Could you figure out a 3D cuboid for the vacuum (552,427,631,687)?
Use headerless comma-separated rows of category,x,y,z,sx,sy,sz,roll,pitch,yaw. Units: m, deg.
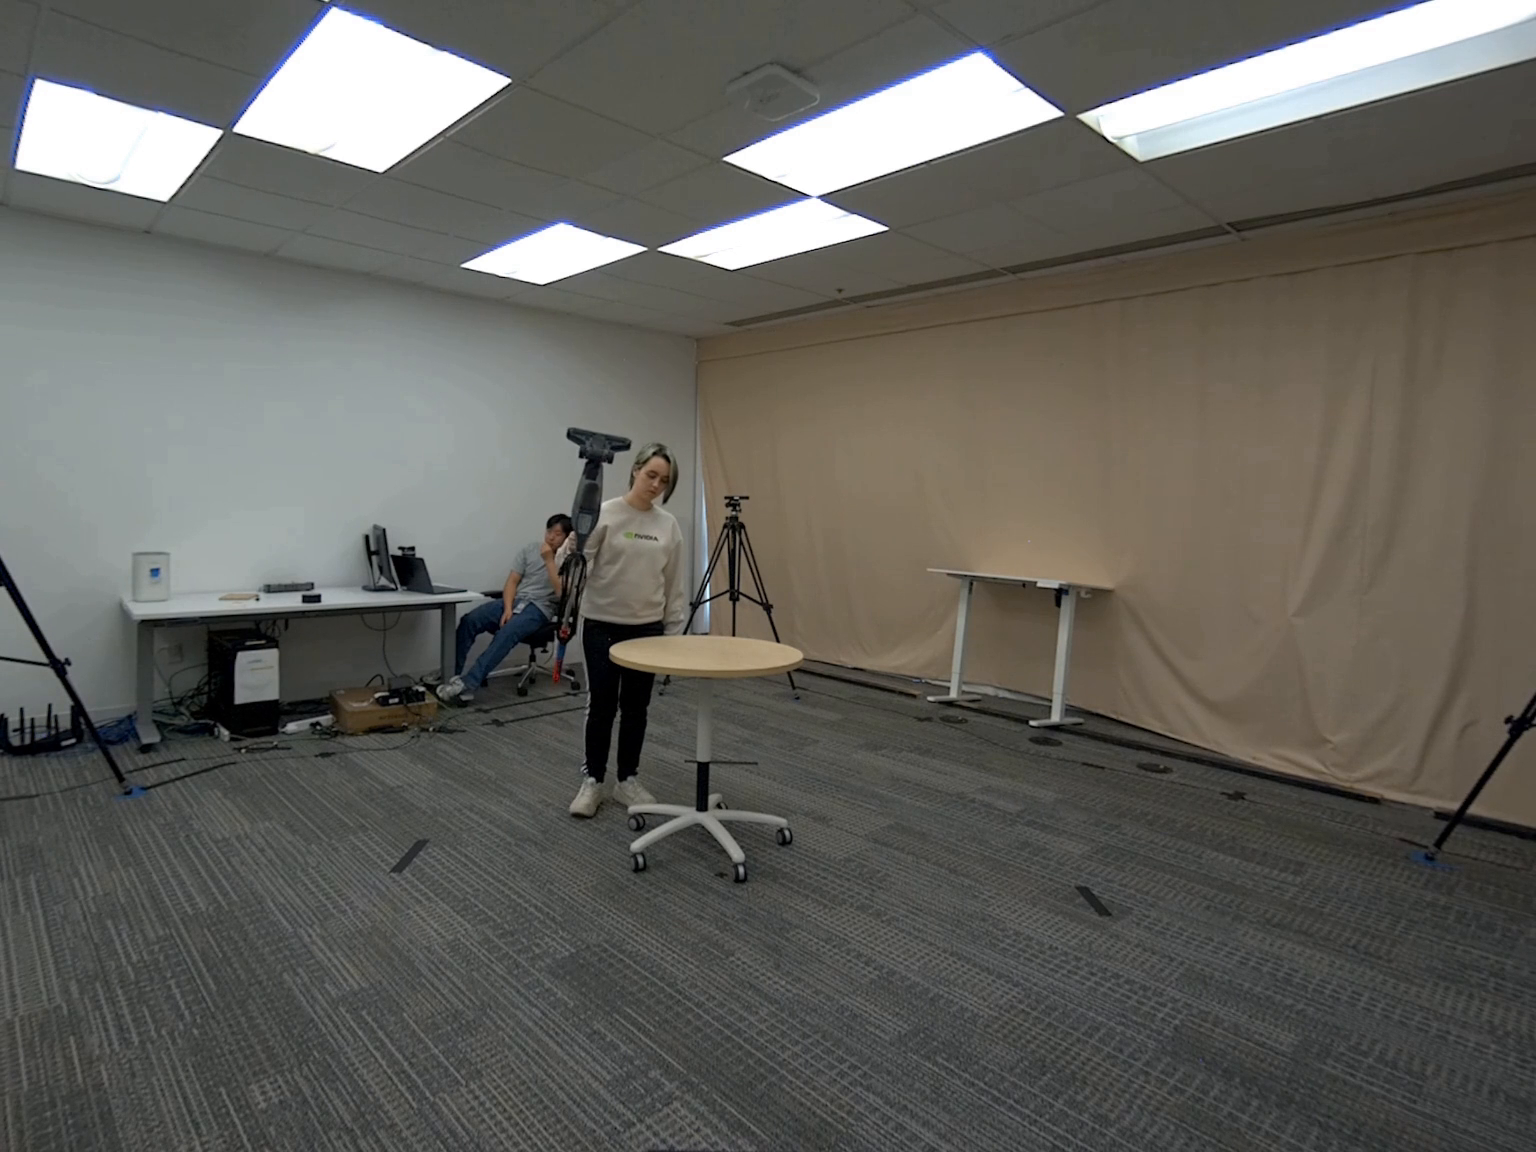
vacuum,-0.789,-0.040,3.415,0.250,1.040,0.146,10,17,-10
